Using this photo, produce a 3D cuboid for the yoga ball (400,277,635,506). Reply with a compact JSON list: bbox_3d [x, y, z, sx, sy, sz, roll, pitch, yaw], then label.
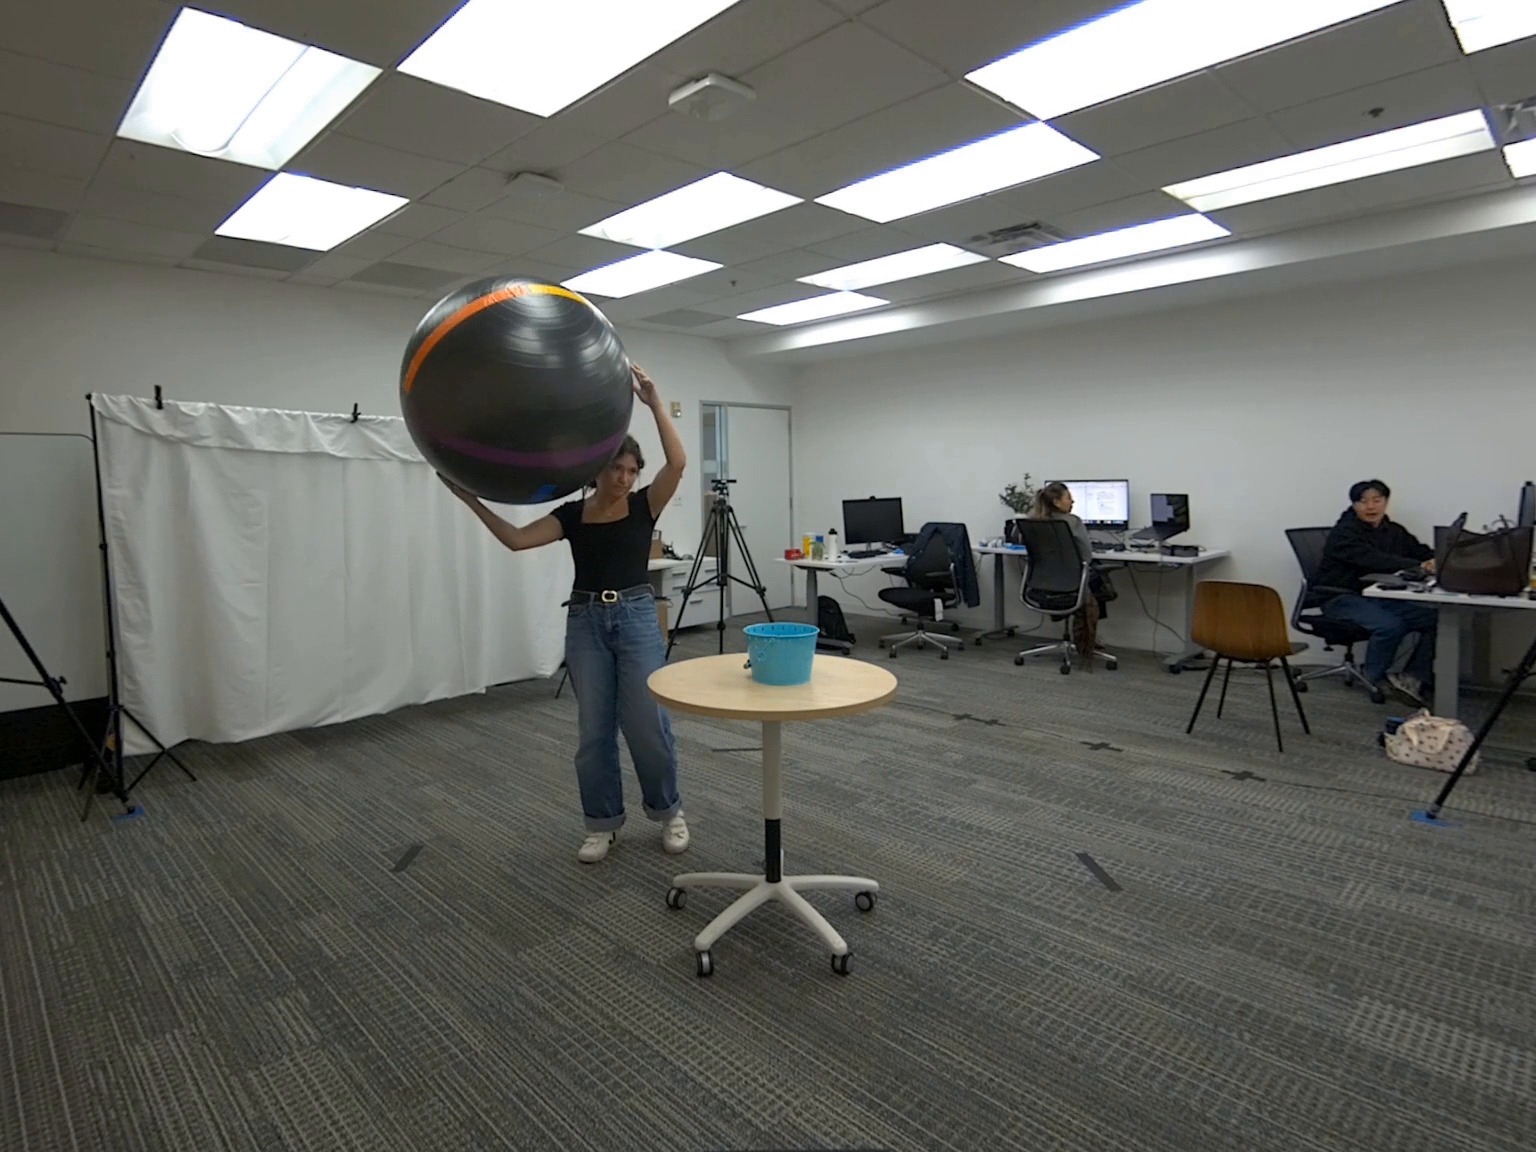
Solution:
[{"bbox_3d":[-0.825,-0.609,2.858,0.757,0.755,0.762,-1,5,-2],"label":"yoga ball"}]
